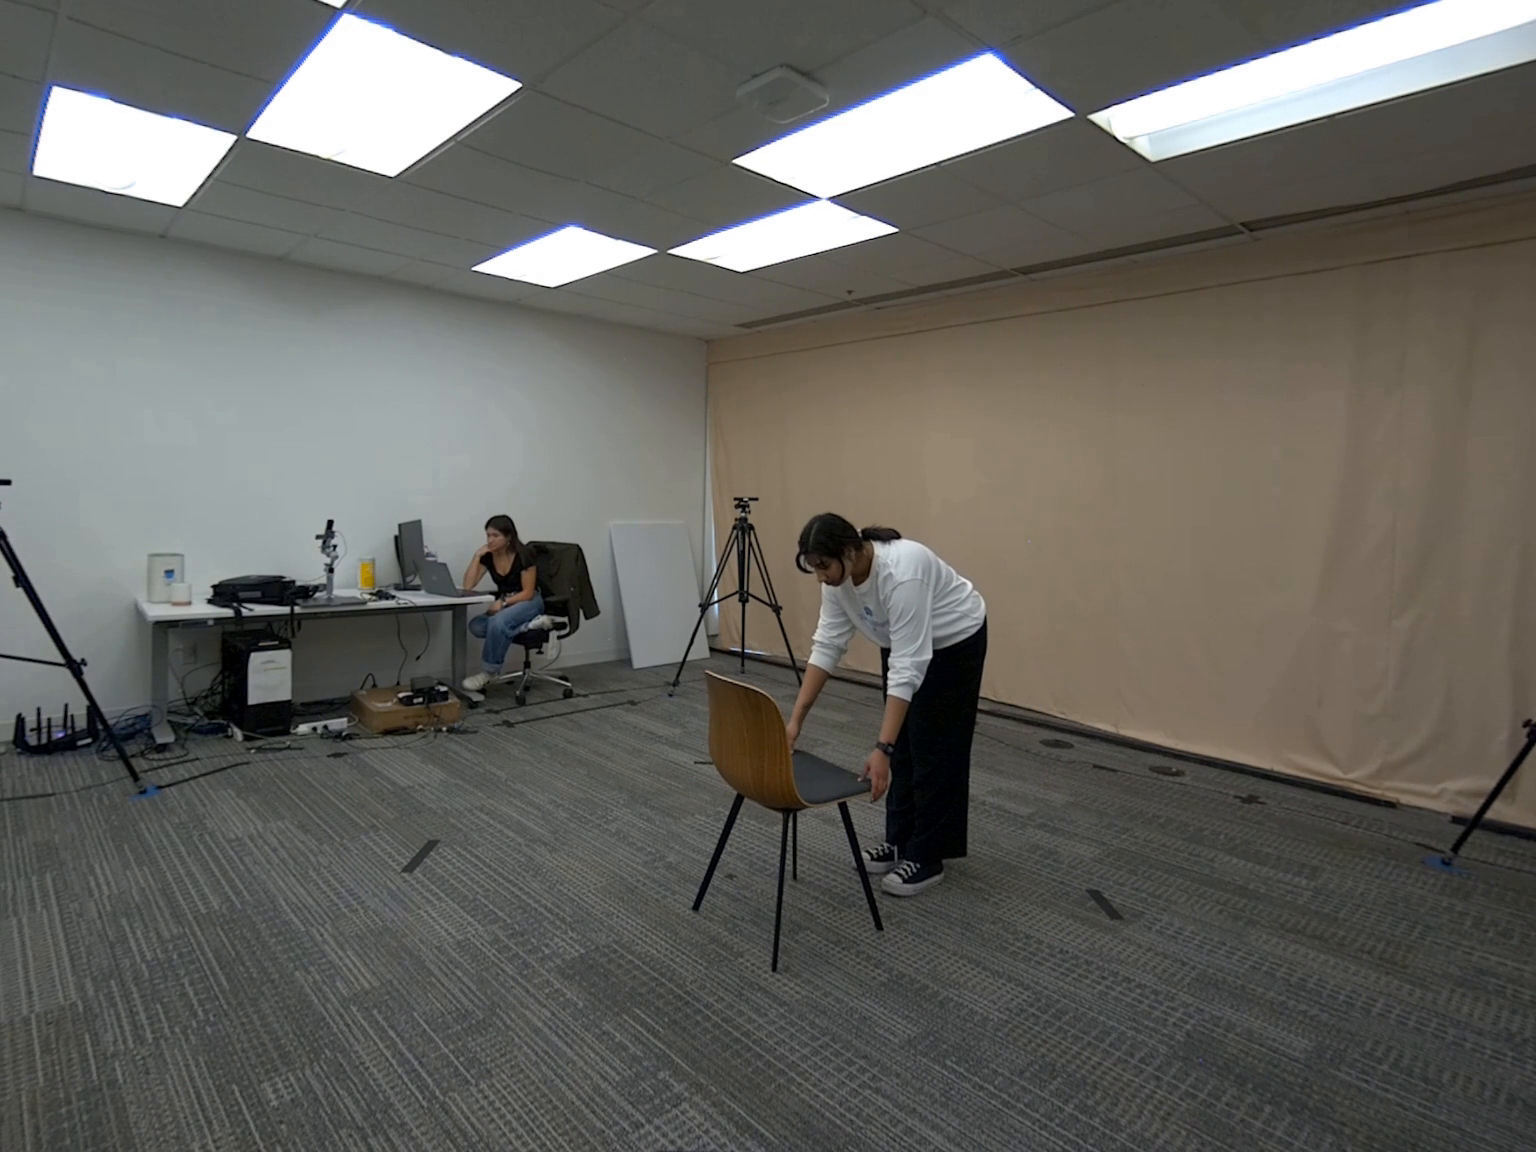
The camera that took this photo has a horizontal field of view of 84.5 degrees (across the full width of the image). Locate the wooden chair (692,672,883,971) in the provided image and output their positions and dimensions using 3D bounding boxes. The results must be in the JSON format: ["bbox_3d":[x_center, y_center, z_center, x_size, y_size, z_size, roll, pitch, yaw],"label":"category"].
[{"bbox_3d":[0.066,0.716,2.762,0.513,0.873,0.490,-7,8,-36],"label":"wooden chair"}]
